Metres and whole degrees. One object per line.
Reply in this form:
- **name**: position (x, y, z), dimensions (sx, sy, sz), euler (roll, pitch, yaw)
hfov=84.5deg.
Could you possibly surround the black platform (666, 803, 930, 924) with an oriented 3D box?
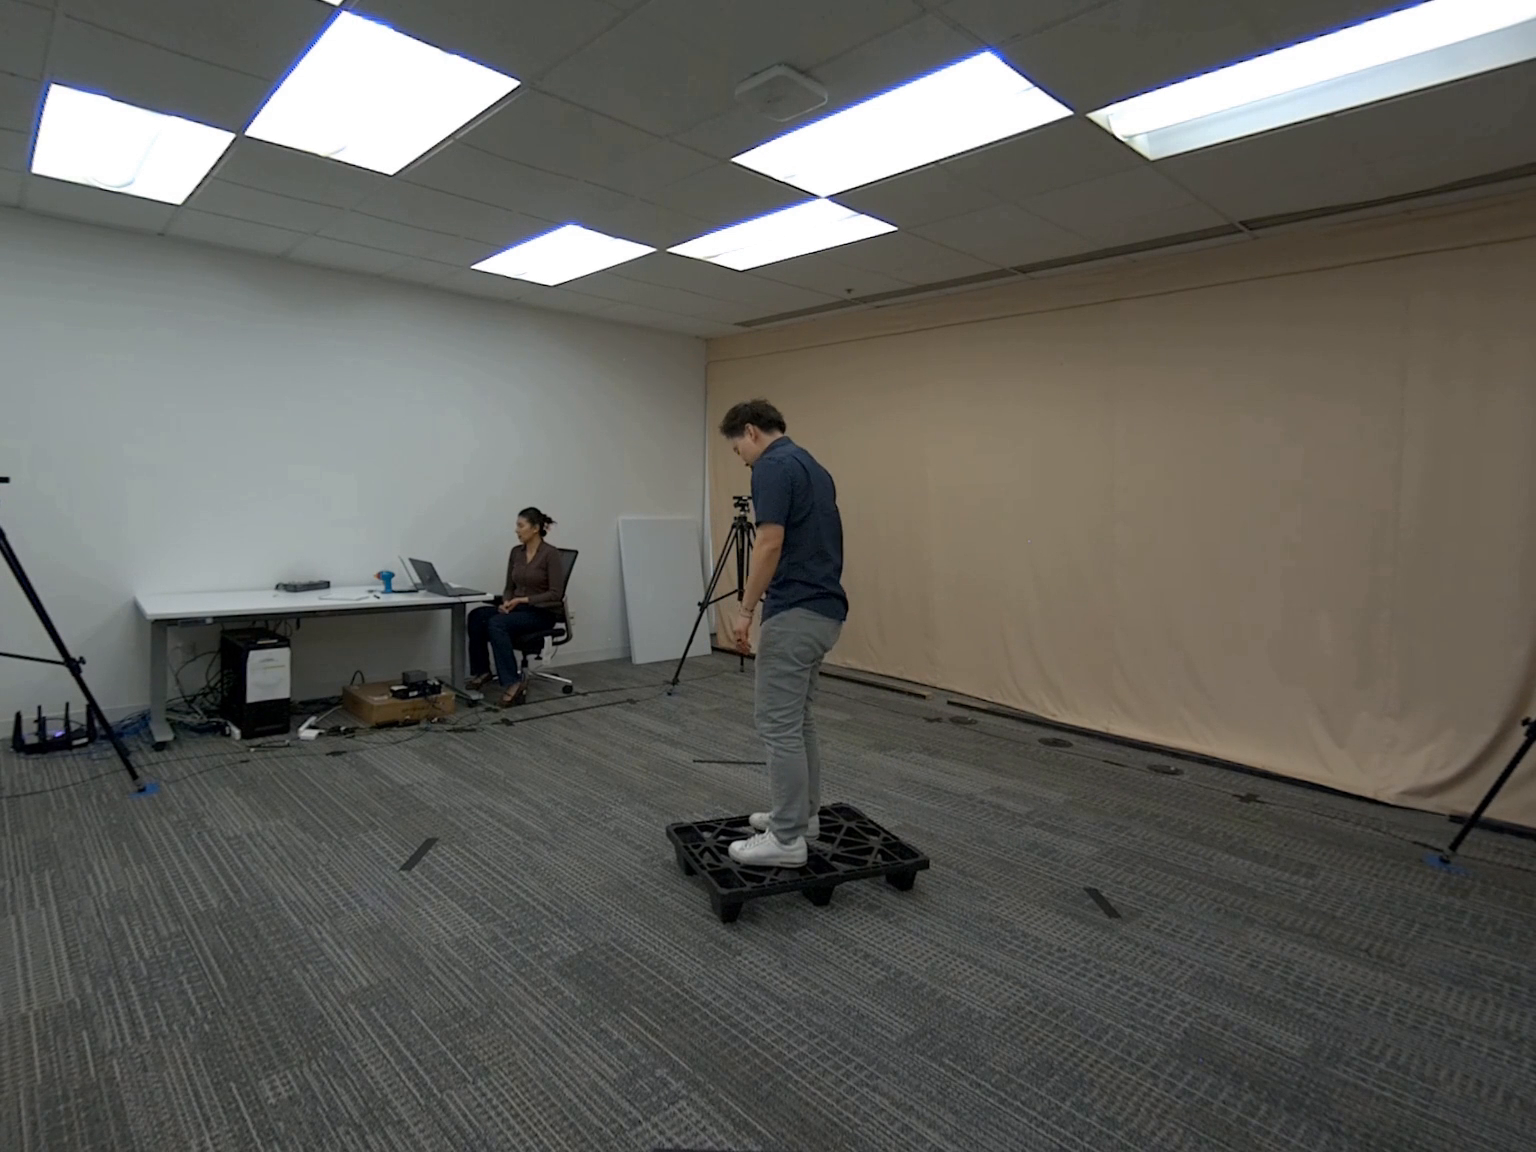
- **black platform**: position (0.087, 1.042, 3.092), dimensions (0.792, 0.143, 0.617), euler (-1, 6, -23)
